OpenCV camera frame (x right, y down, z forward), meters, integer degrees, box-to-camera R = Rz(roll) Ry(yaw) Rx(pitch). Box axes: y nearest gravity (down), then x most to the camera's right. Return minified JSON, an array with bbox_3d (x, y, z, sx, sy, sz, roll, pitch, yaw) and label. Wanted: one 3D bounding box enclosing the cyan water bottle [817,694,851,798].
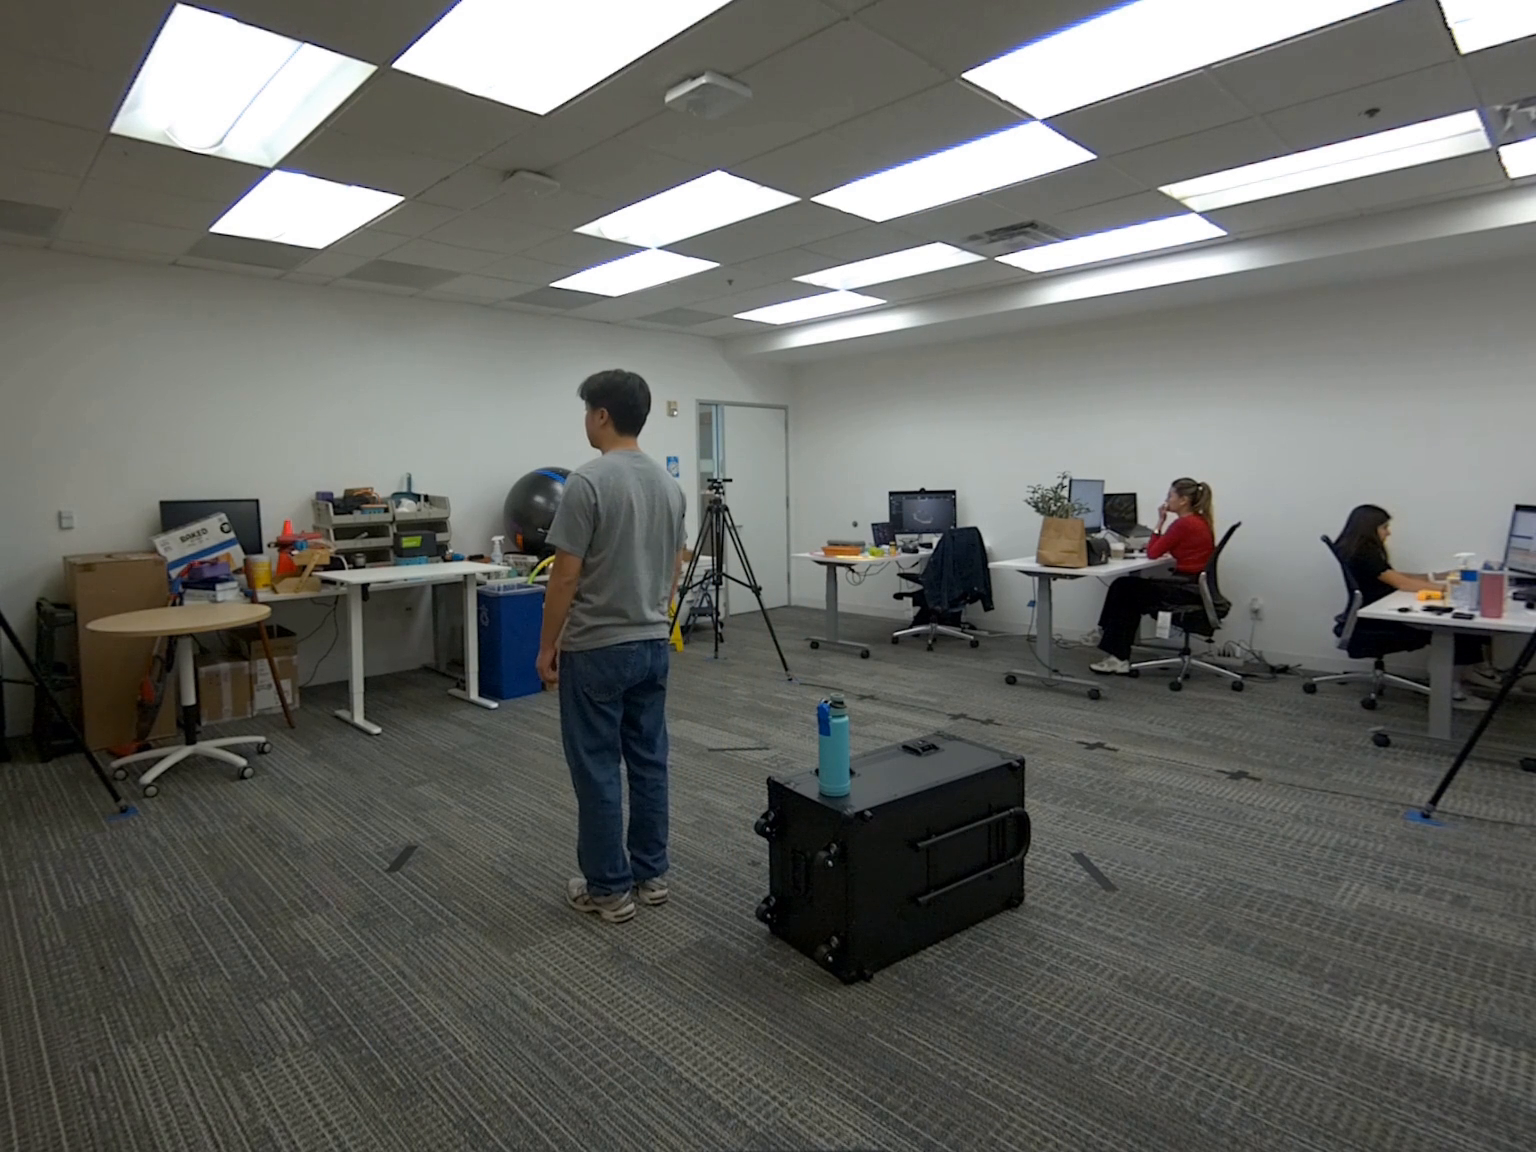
[{"bbox_3d":[0.178,0.494,2.490,0.092,0.282,0.093,-5,4,-1],"label":"cyan water bottle"}]
